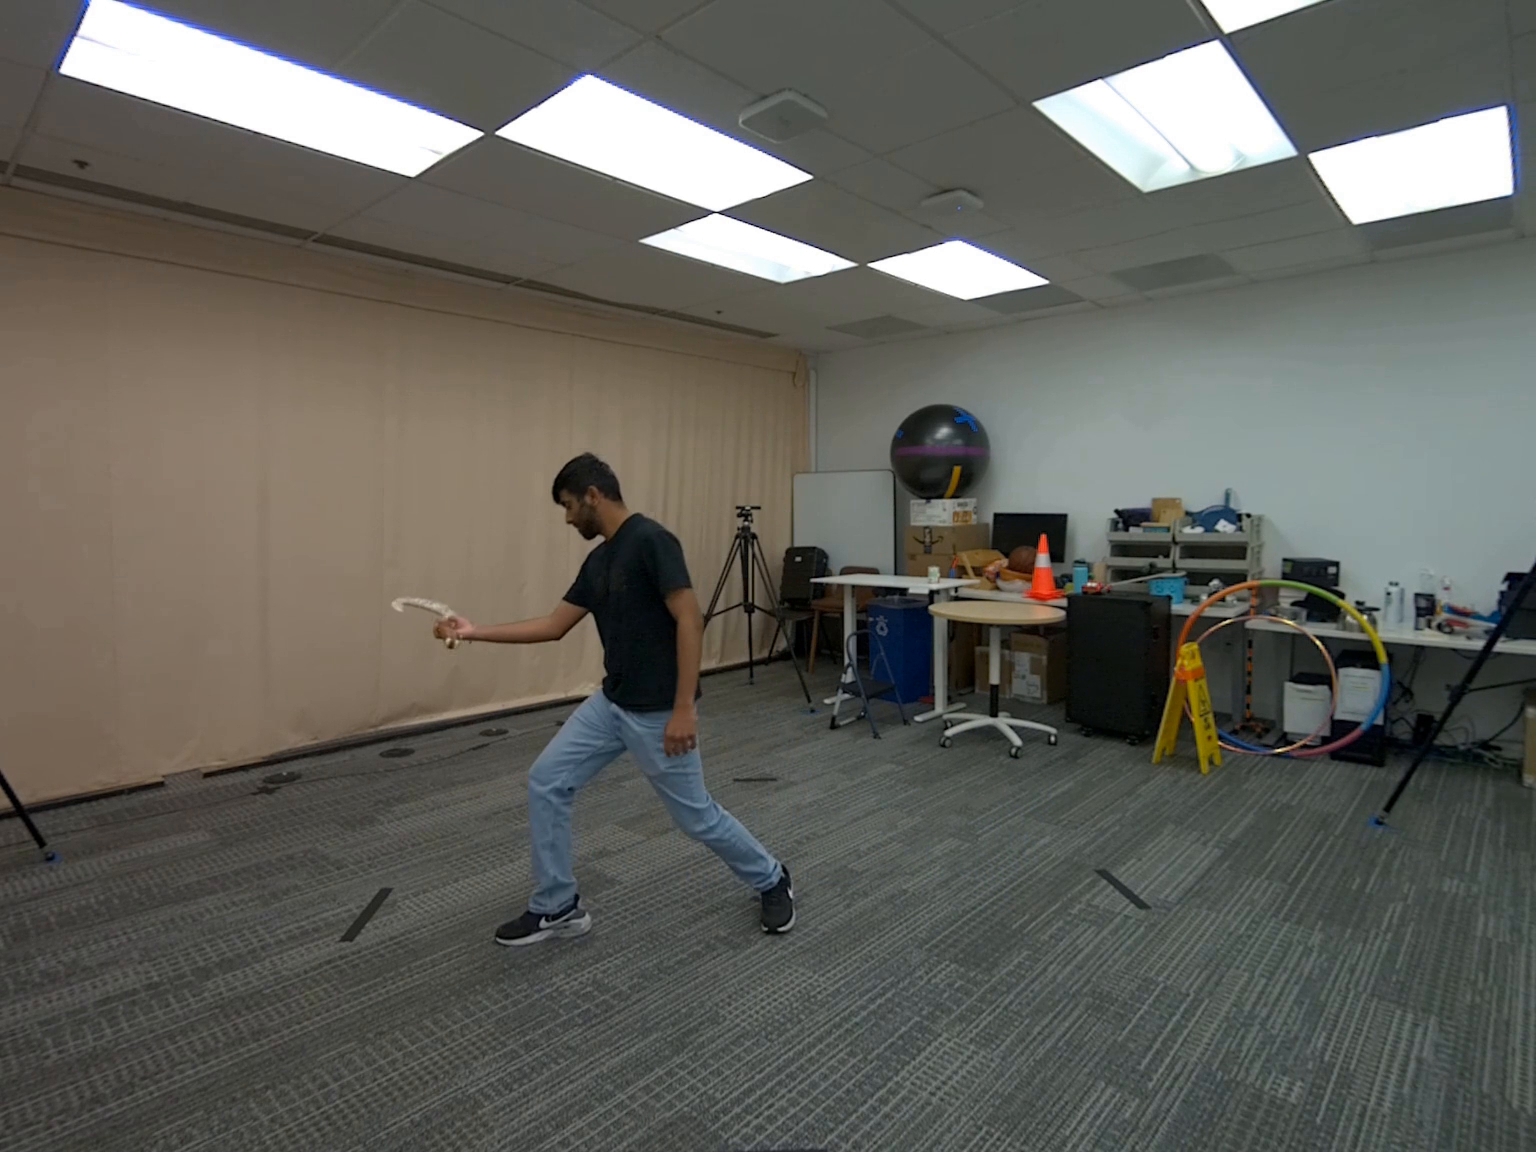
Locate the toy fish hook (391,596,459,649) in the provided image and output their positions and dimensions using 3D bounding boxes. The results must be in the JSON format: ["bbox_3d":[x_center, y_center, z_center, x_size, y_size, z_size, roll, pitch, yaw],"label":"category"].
[{"bbox_3d":[-1.122,0.157,2.790,0.218,0.048,0.522,10,7,-29],"label":"toy fish hook"}]
